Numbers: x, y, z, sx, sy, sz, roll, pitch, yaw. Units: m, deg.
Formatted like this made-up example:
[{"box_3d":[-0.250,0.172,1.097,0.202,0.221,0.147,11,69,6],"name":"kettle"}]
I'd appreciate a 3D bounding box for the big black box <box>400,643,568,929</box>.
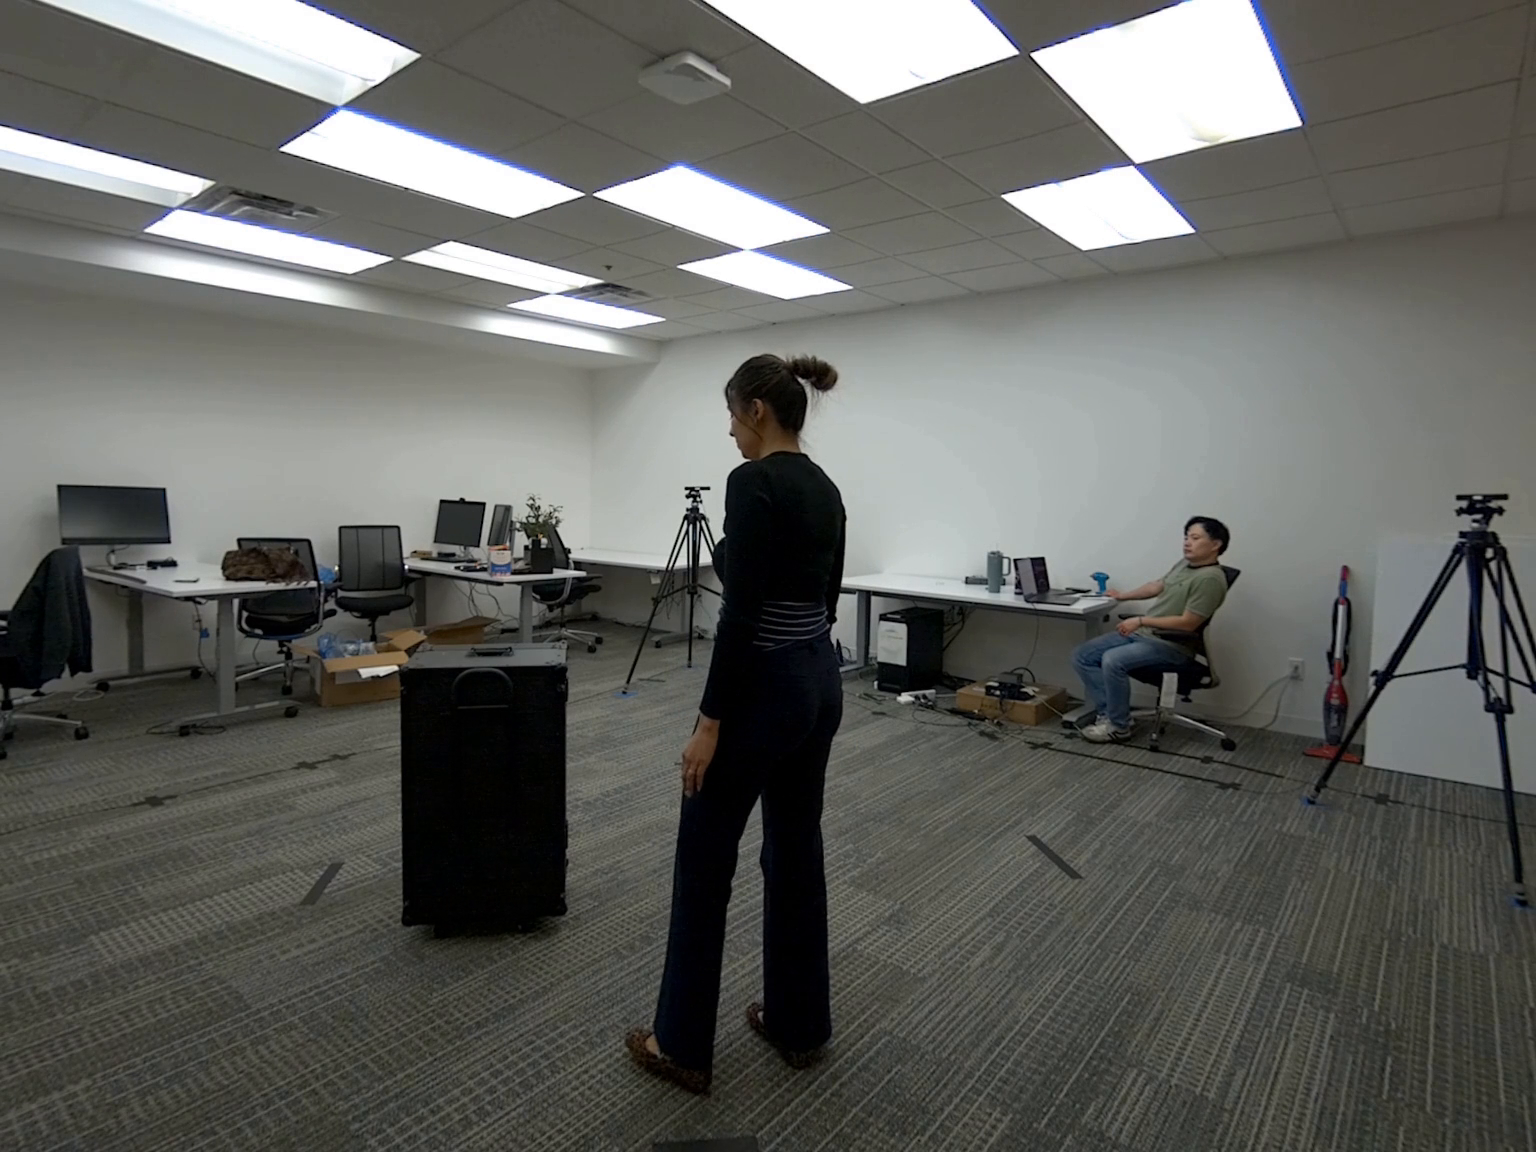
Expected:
[{"box_3d":[-0.893,0.669,2.712,0.516,0.858,0.402,0,5,-10],"name":"big black box"}]
